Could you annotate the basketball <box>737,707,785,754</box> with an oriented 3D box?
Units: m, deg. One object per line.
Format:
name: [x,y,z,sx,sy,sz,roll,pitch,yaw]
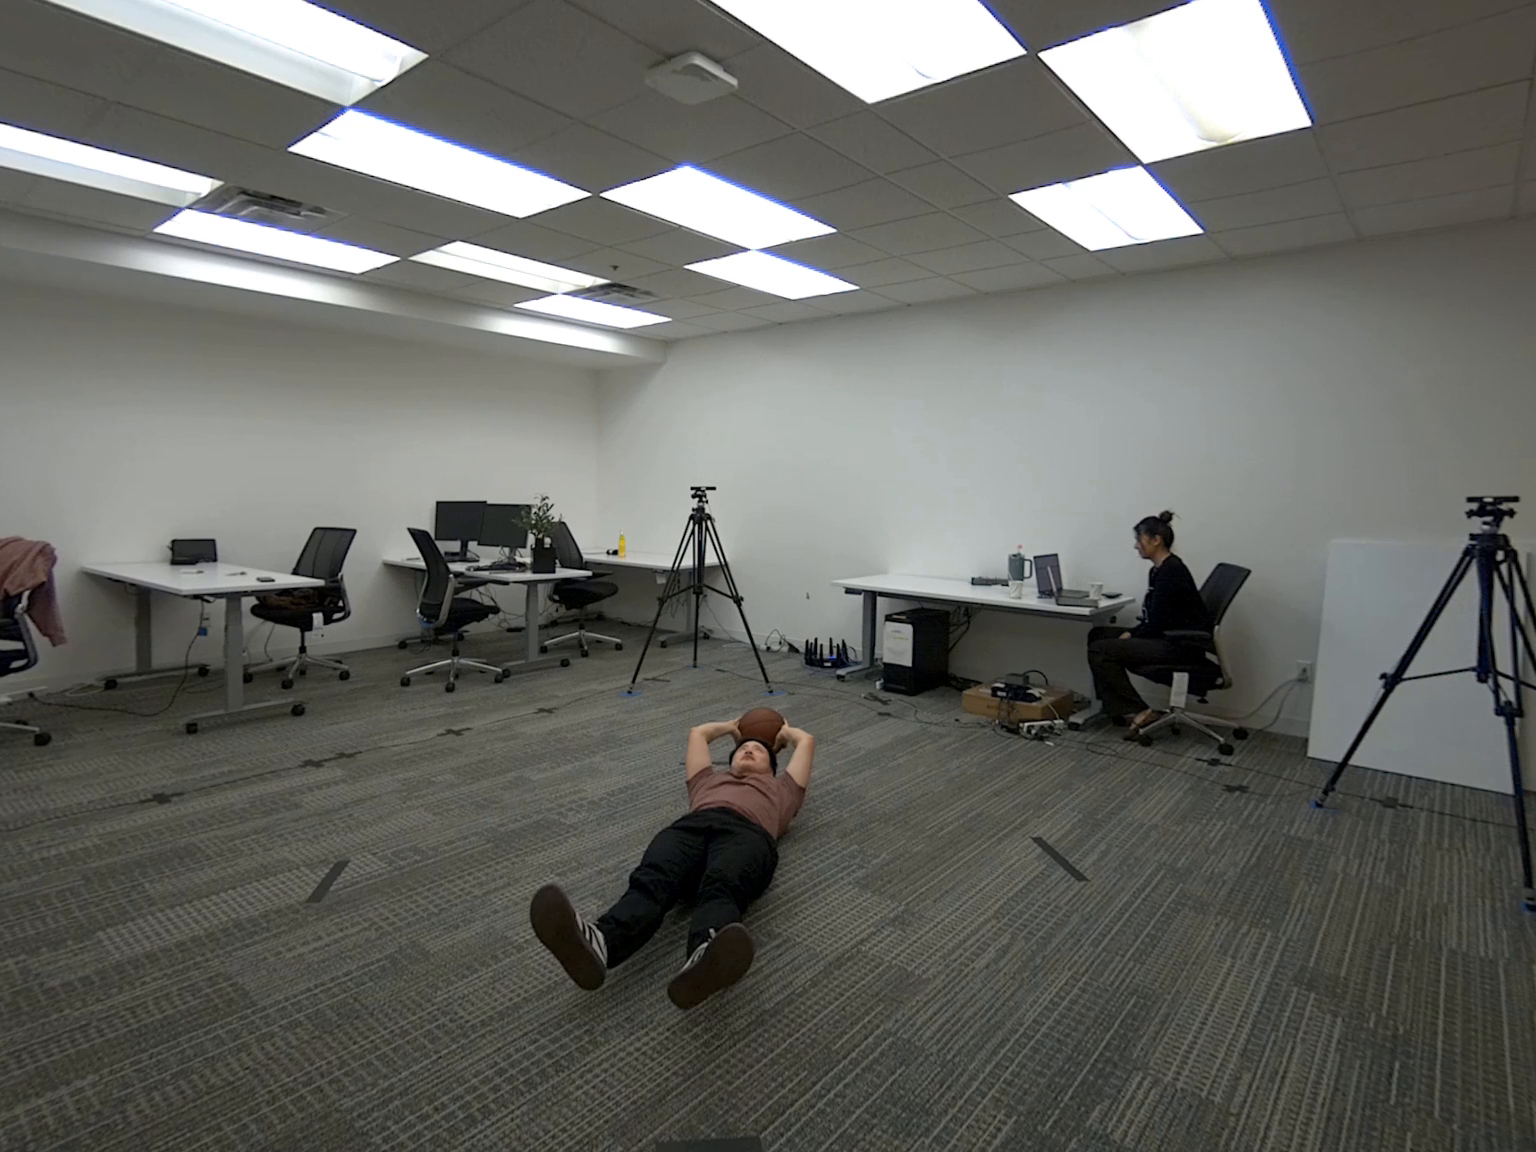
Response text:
basketball: [-0.037,0.727,3.989,0.236,0.235,0.237,-3,3,-2]
